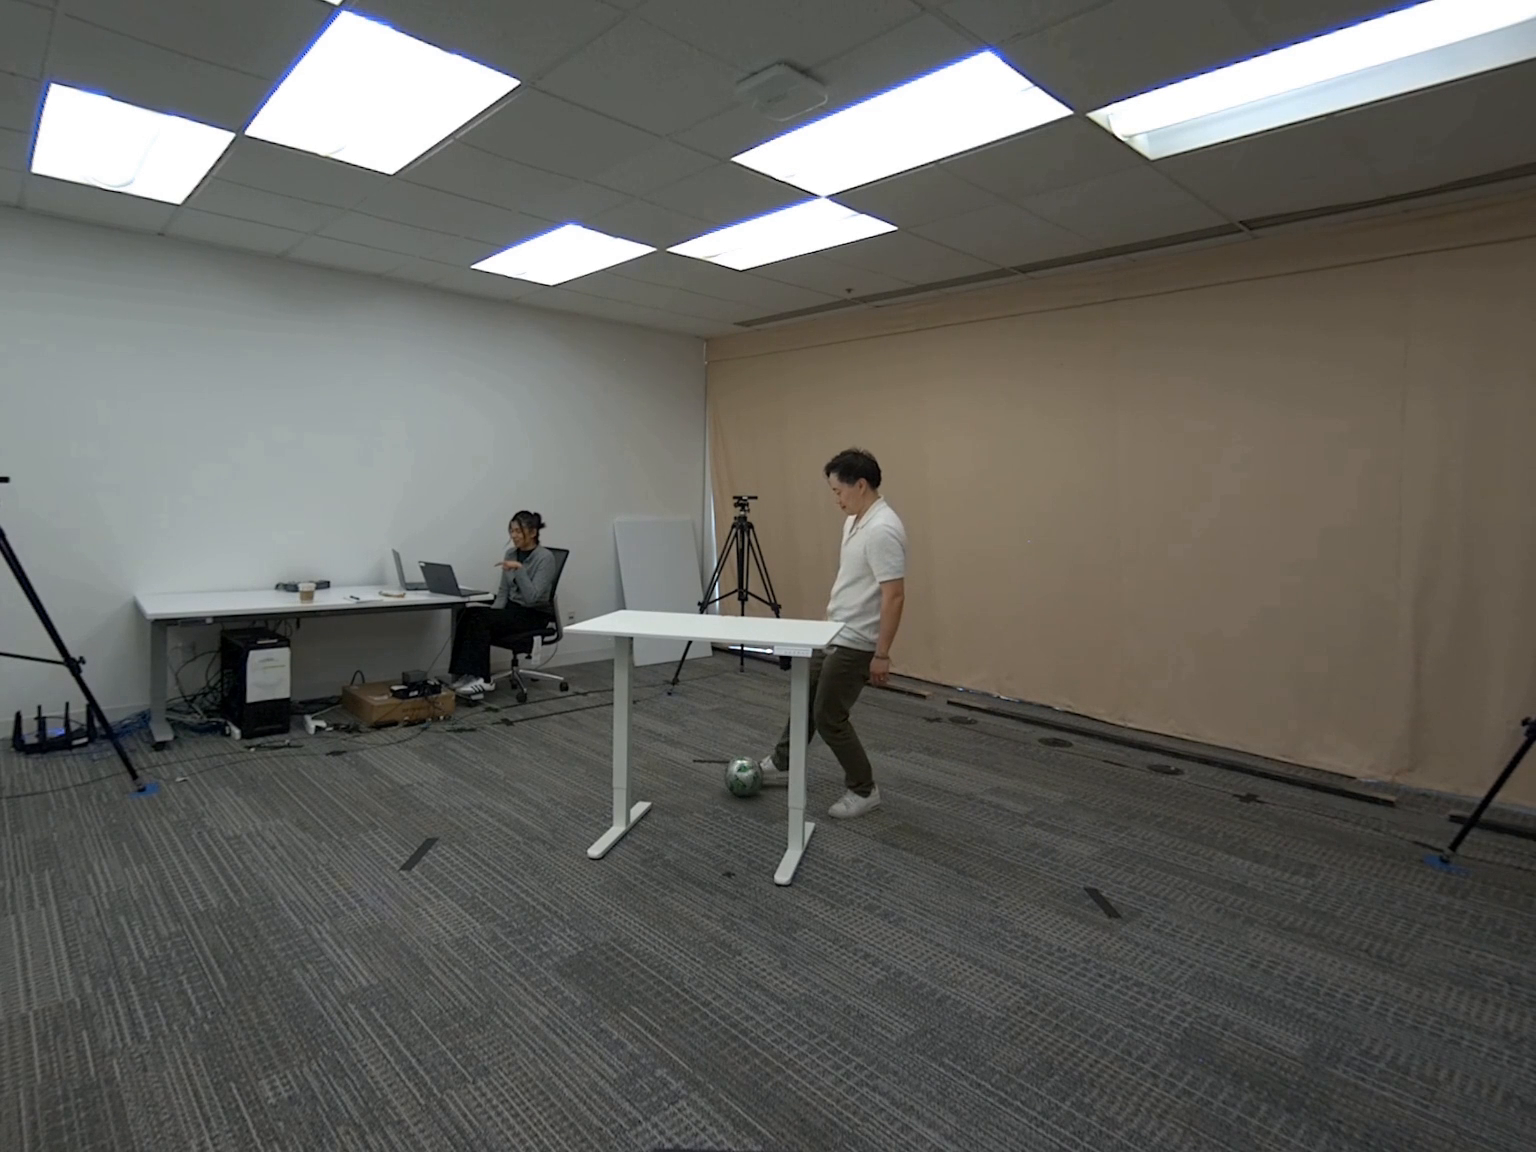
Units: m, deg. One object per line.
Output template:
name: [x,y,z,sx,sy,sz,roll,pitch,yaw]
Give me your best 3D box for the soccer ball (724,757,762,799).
soccer ball: [-0.126,0.935,3.930,0.187,0.187,0.188,1,4,-1]
